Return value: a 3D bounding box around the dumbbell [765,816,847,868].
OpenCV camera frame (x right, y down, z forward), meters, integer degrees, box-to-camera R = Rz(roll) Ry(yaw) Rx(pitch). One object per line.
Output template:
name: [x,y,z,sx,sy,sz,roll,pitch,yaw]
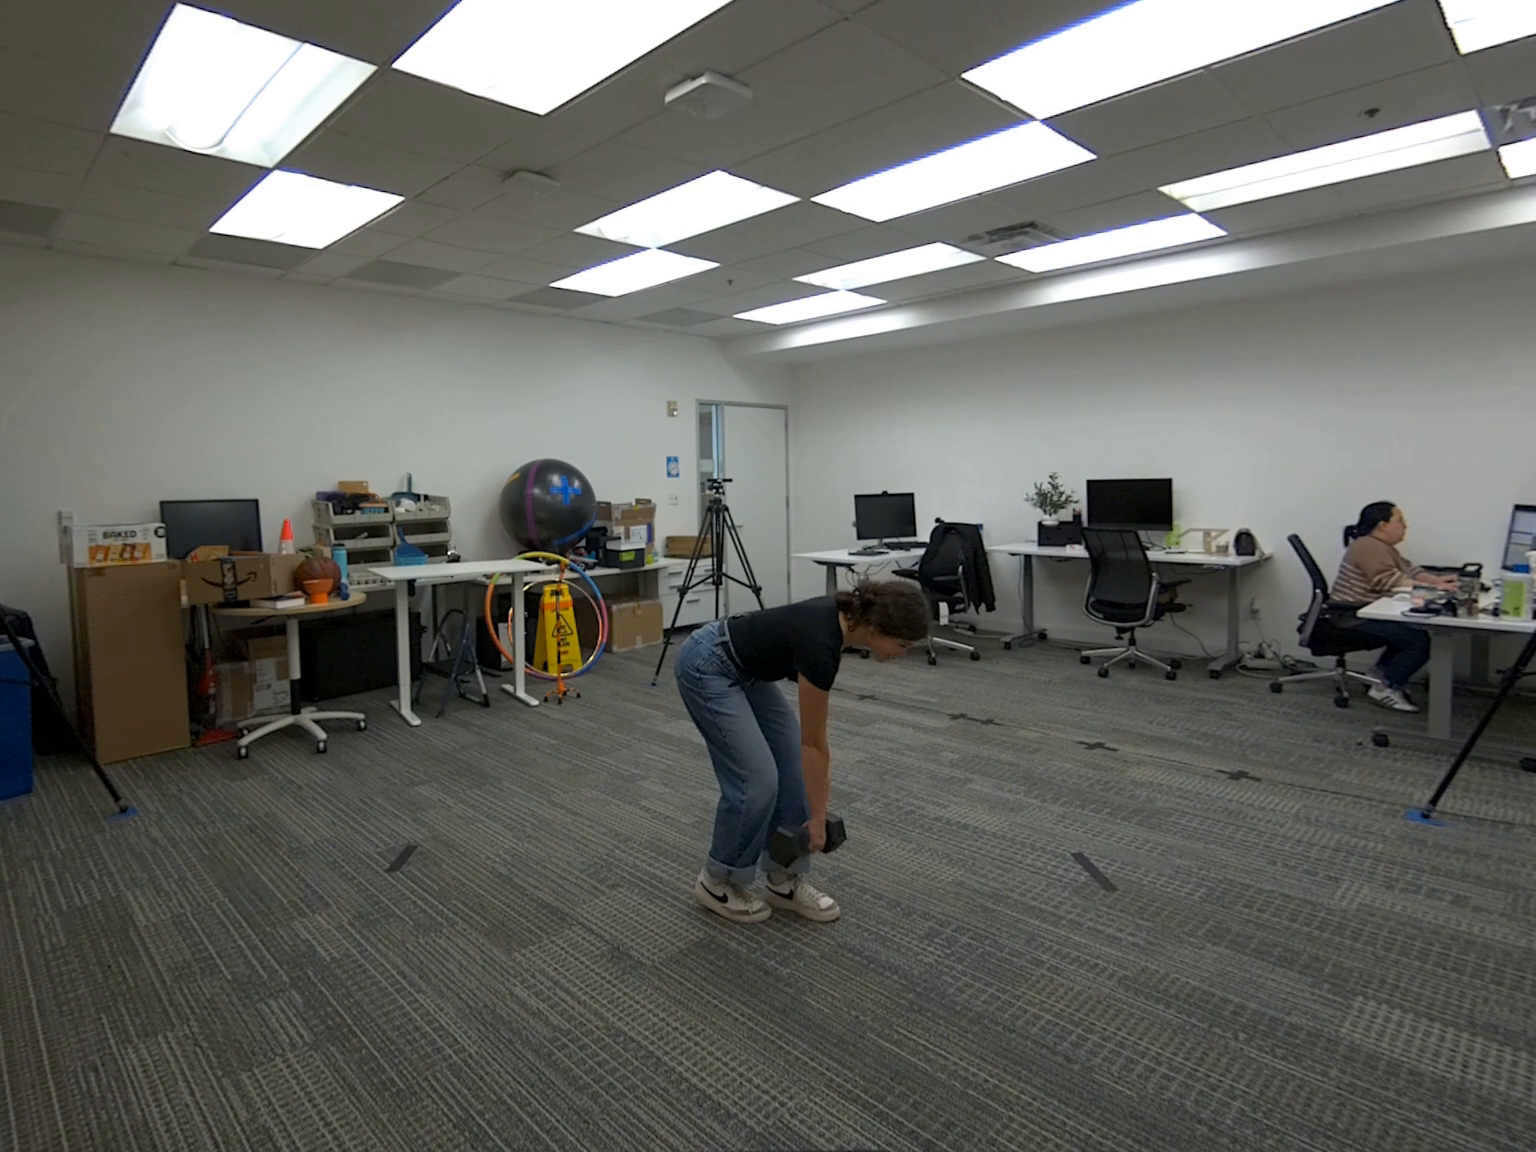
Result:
dumbbell: [0.111,0.810,2.645,0.285,0.122,0.112,4,40,-53]
